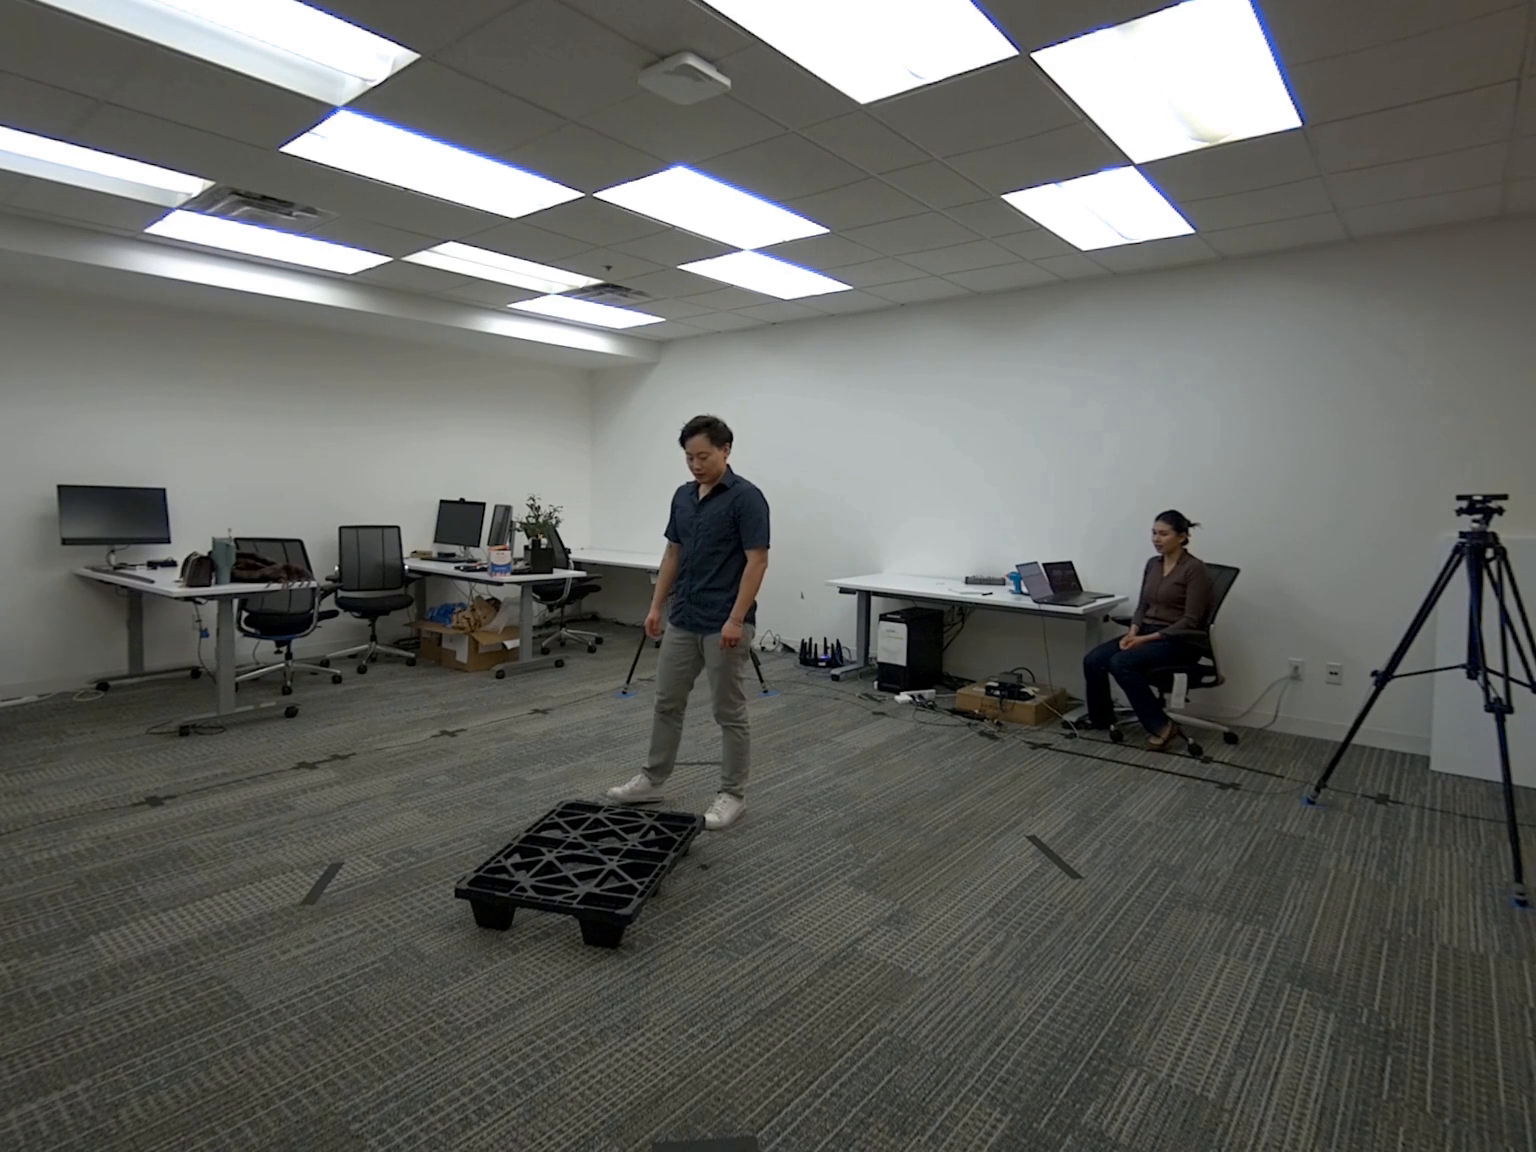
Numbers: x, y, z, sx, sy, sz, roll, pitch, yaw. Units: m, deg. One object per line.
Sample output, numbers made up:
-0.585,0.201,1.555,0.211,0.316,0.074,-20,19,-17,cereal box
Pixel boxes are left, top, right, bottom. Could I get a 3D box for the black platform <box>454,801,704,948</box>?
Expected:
-0.622,1.005,2.954,0.615,0.143,0.796,1,5,13,black platform
